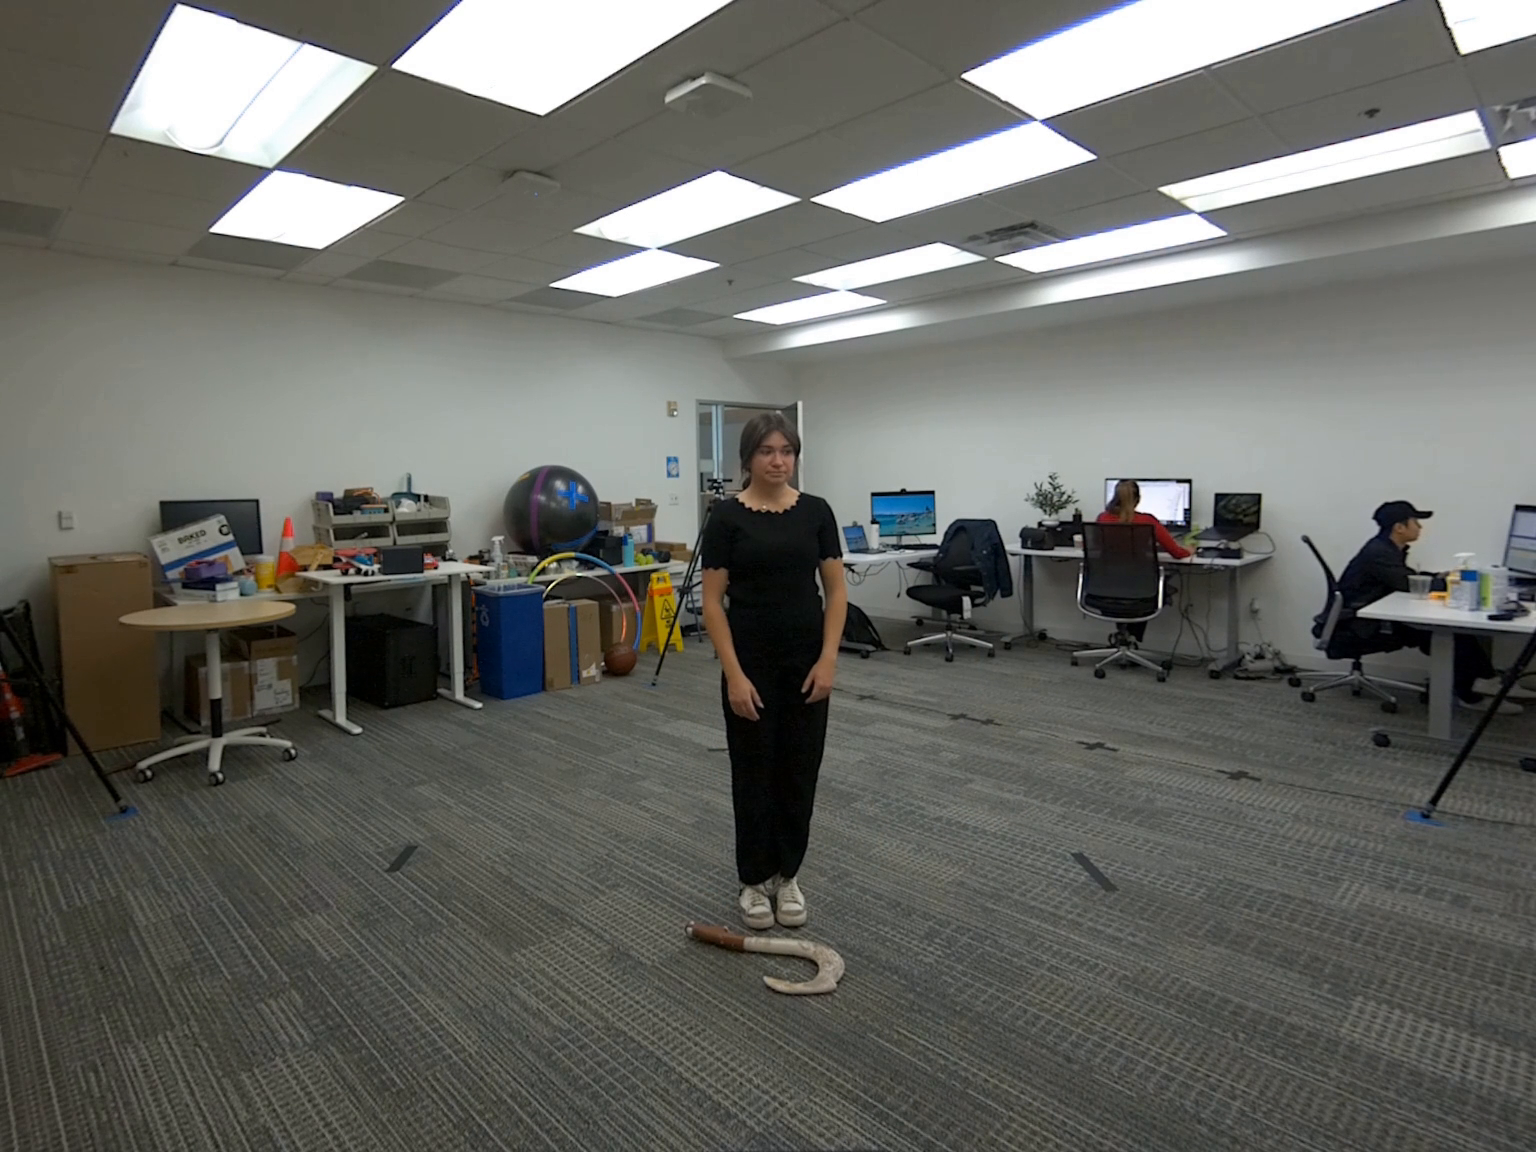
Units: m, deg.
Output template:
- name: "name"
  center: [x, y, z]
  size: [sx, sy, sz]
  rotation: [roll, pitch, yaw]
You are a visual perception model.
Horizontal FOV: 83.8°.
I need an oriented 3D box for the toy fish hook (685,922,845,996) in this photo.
- name: "toy fish hook"
  center: [-0.032, 1.096, 2.465]
  size: [0.518, 0.048, 0.220]
  rotation: [2, 6, 25]
